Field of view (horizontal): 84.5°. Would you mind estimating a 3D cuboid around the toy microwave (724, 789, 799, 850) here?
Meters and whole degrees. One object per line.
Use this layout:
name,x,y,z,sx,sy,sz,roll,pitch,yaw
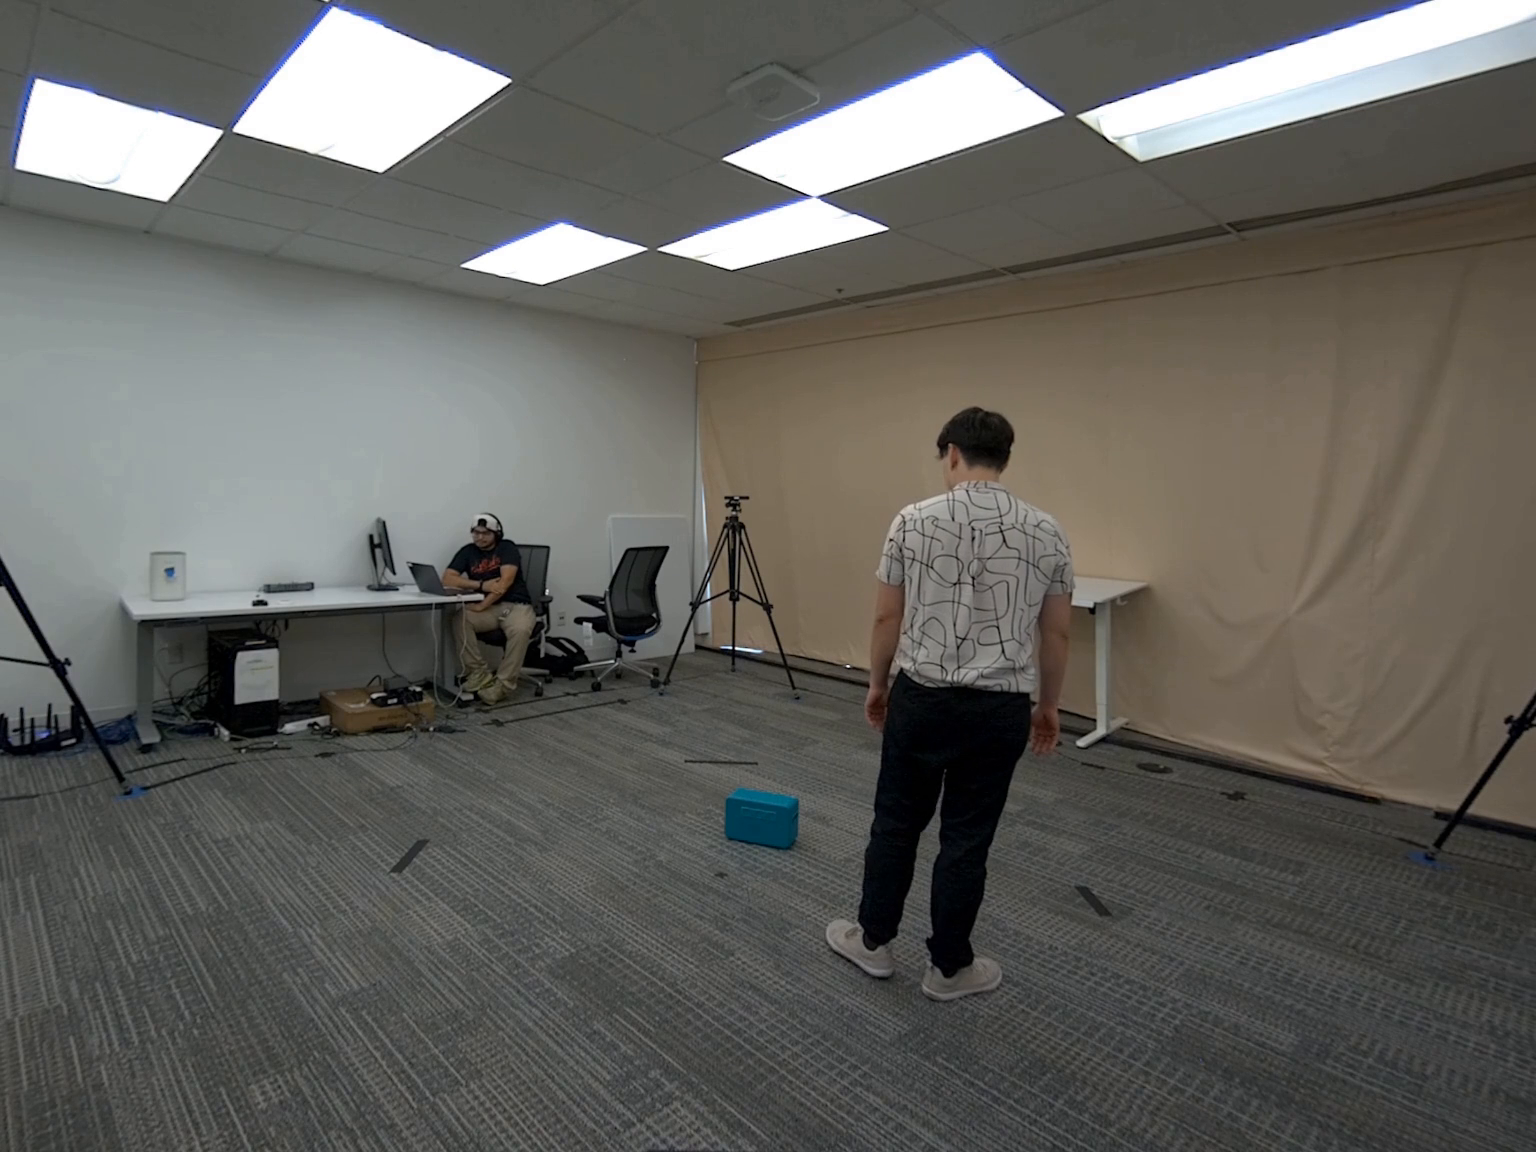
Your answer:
toy microwave,-0.030,0.986,3.438,0.291,0.184,0.150,3,4,22
